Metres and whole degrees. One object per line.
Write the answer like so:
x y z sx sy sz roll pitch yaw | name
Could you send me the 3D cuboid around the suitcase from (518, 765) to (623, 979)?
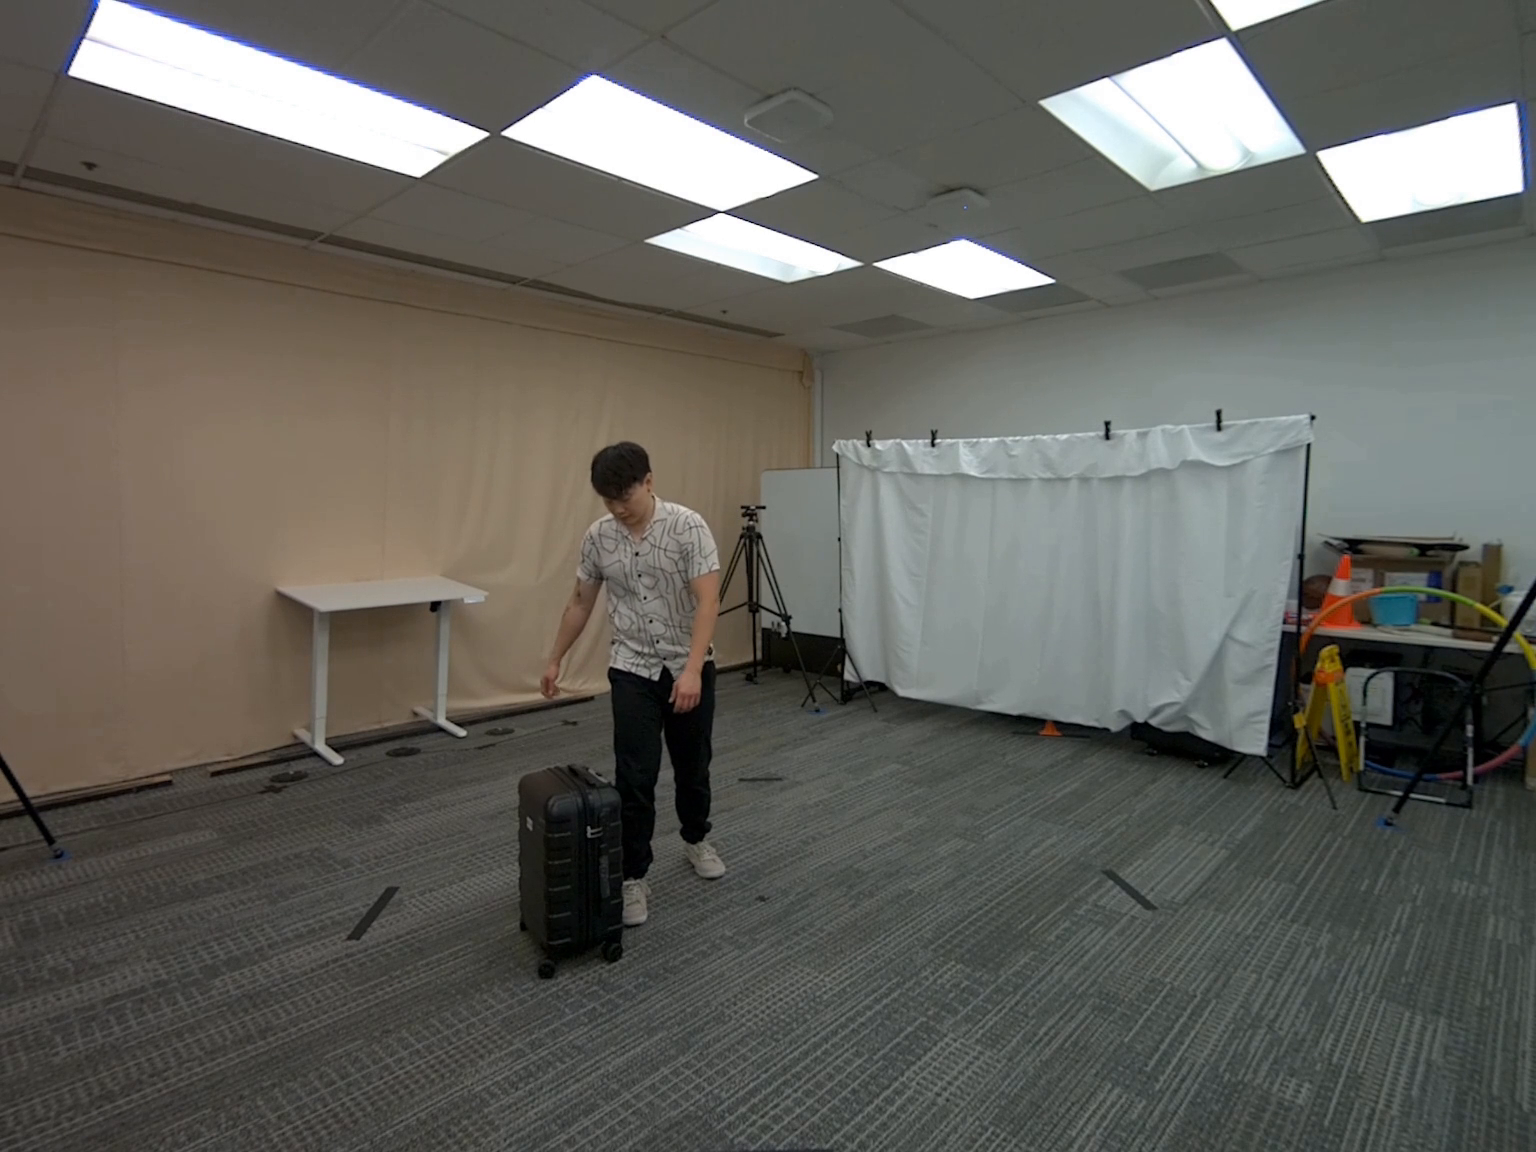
-0.628 0.896 2.664 0.242 0.548 0.386 -1 4 -29 | suitcase
